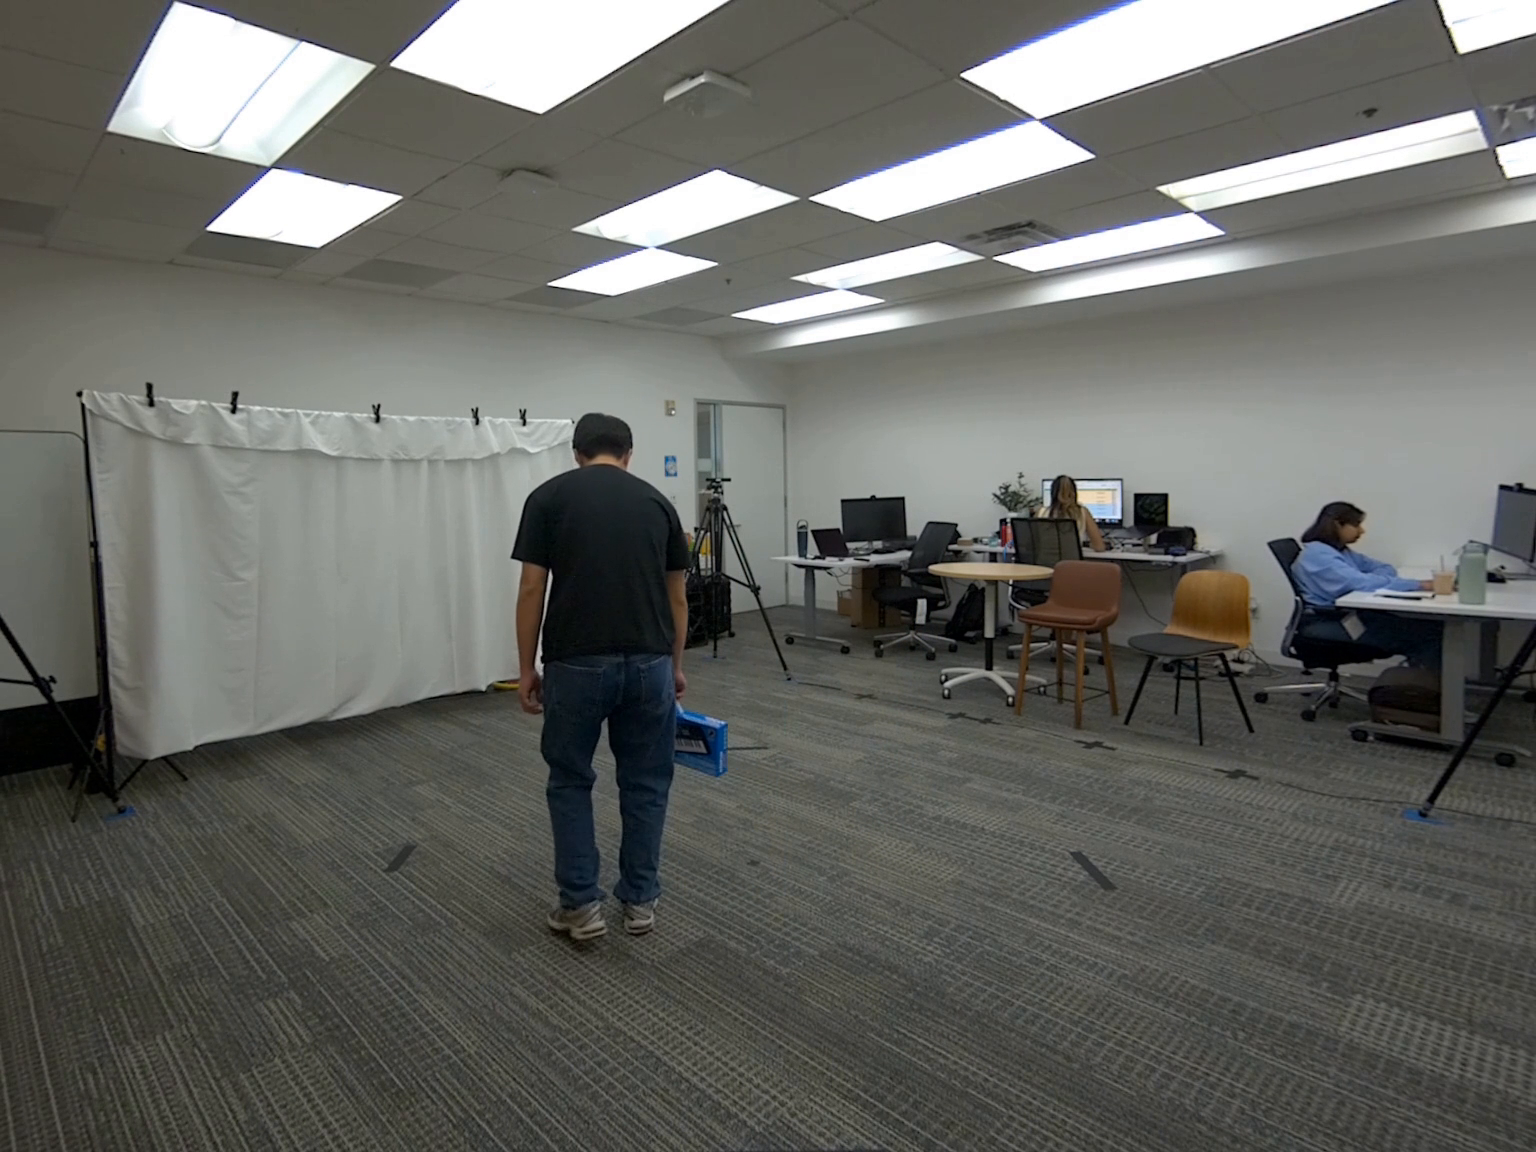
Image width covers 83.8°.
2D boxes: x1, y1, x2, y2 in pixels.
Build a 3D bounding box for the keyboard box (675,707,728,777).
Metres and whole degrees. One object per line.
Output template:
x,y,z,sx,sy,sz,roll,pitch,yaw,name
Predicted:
-0.330,0.541,2.896,0.450,0.174,0.058,9,12,33,keyboard box
